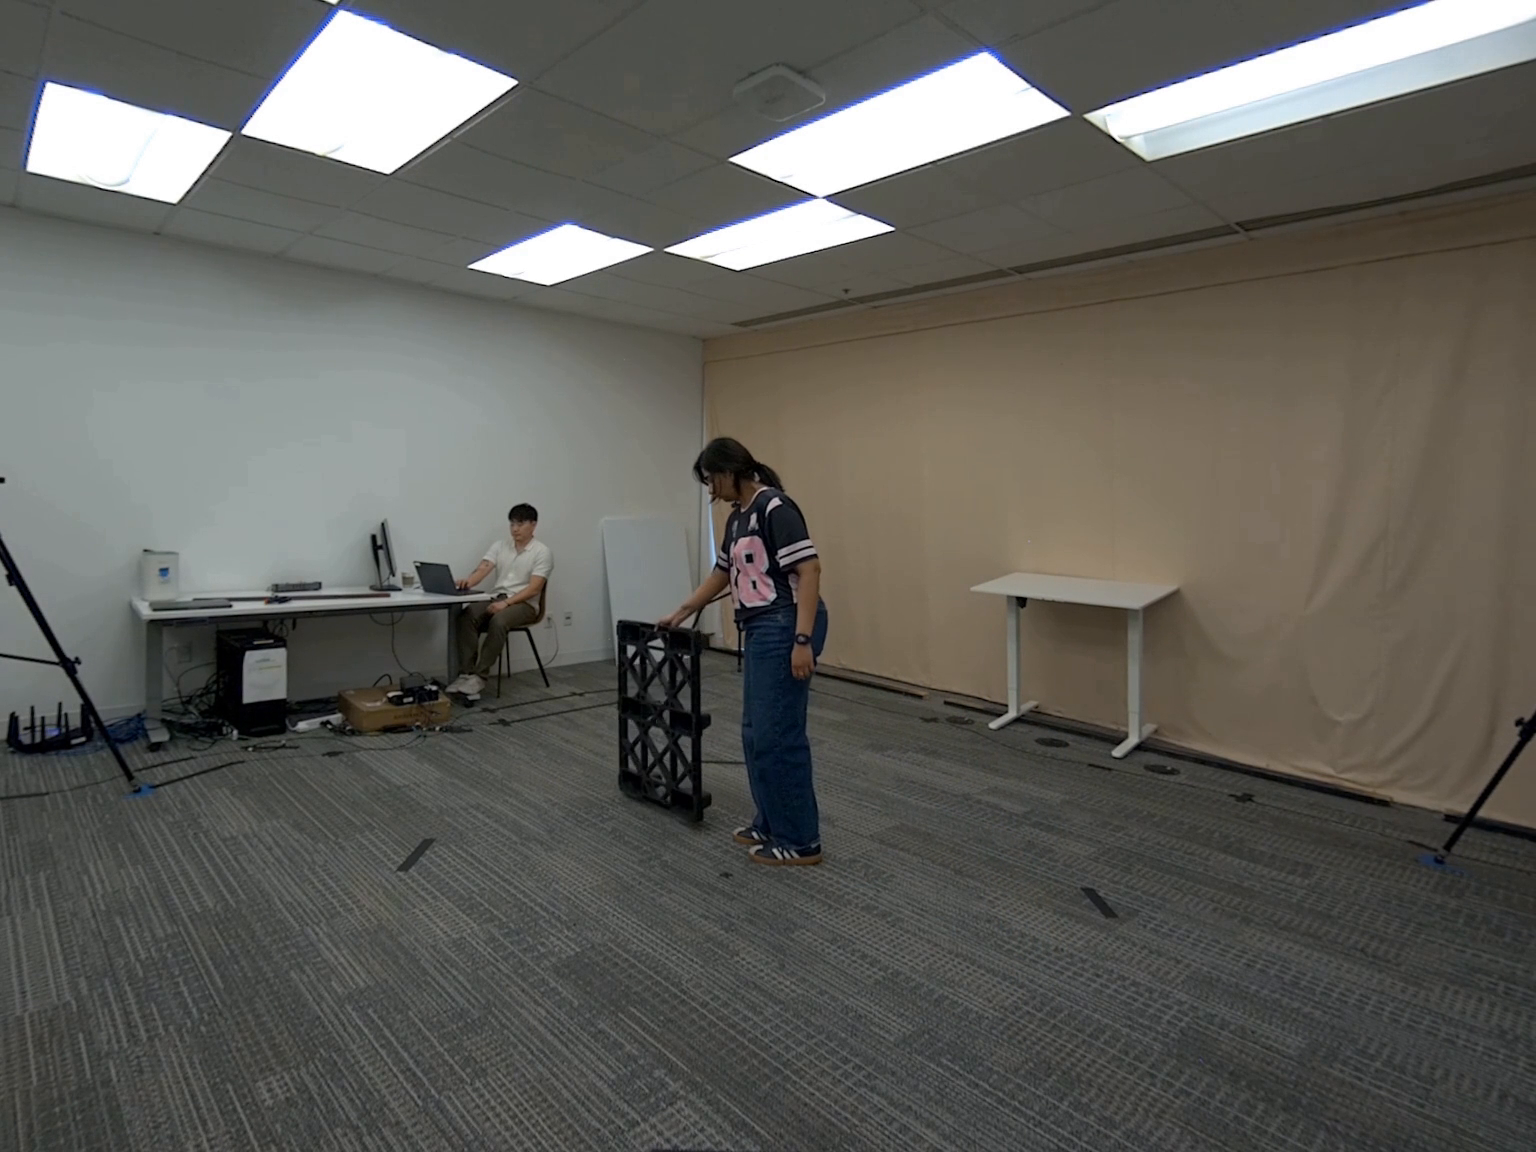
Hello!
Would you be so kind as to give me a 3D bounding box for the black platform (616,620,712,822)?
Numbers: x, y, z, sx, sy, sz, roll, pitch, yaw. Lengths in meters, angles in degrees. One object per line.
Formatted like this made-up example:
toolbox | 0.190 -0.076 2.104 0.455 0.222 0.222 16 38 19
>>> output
black platform | -0.464 0.612 3.735 0.140 0.805 0.620 -1 2 -41
